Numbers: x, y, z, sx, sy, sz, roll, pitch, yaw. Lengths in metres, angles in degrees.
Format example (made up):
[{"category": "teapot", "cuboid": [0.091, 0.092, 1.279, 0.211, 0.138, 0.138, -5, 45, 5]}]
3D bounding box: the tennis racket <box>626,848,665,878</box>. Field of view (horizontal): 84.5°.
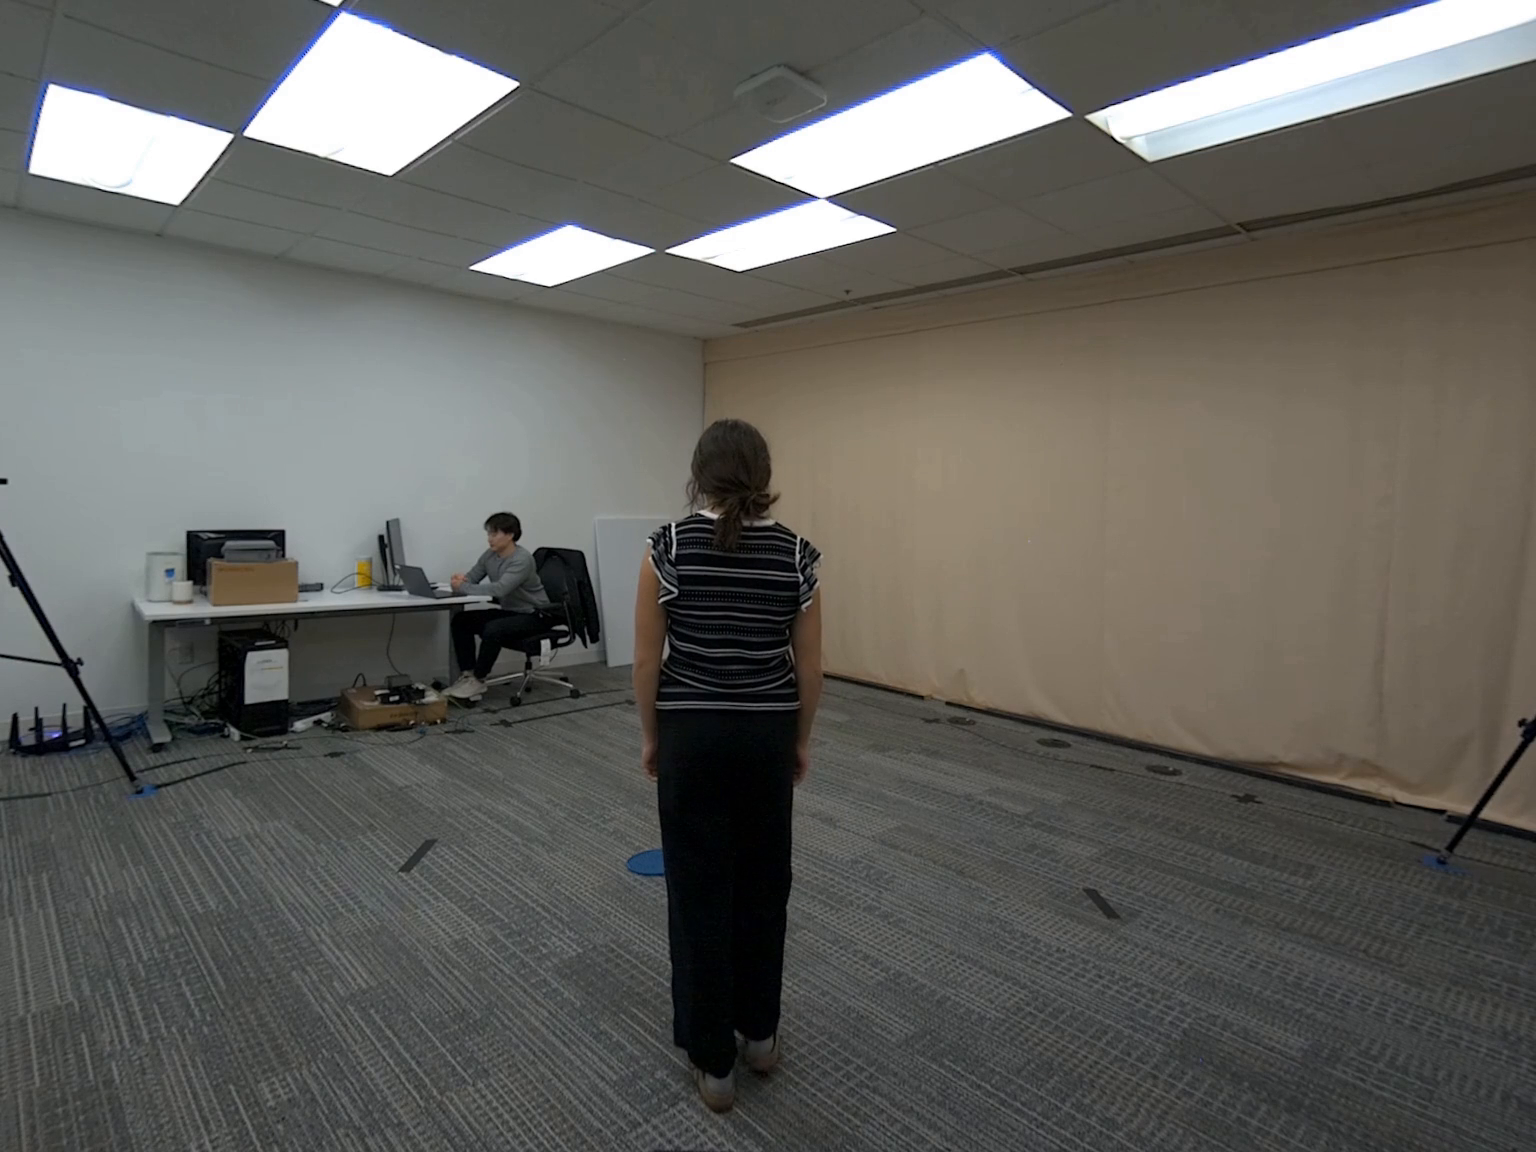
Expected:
[{"category": "tennis racket", "cuboid": [-0.332, 1.075, 3.216, 0.427, 0.031, 0.217, -2, 5, -17]}]
